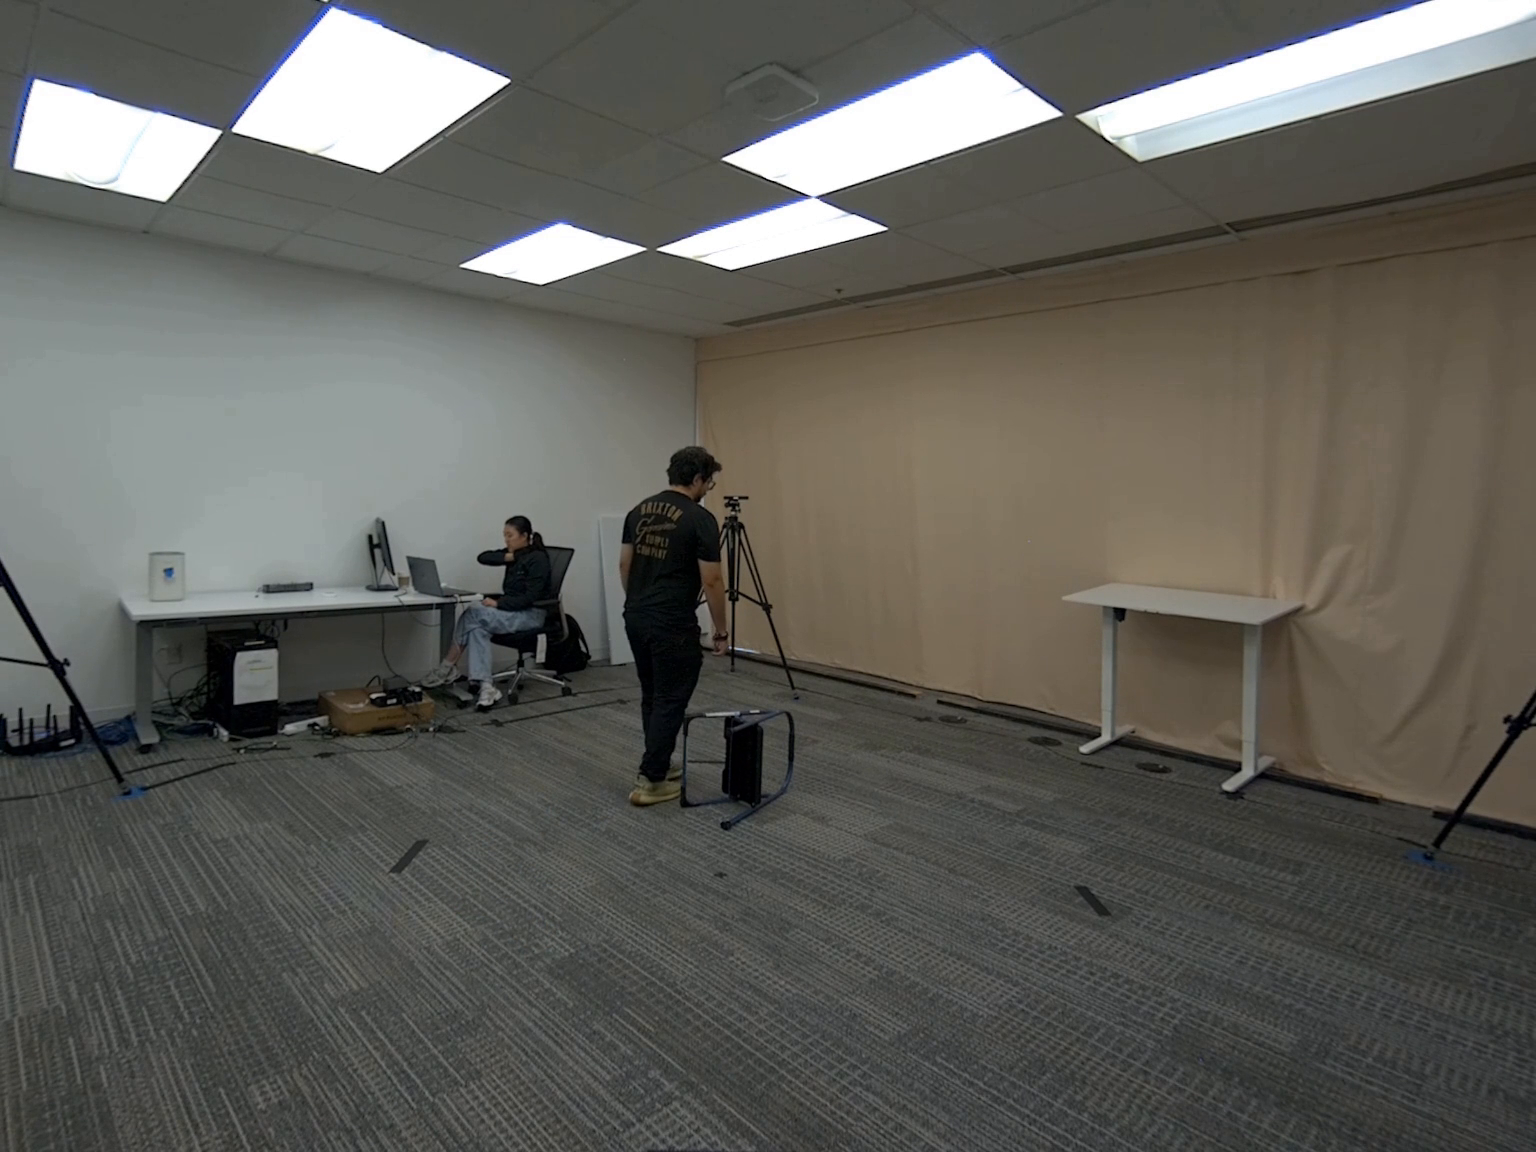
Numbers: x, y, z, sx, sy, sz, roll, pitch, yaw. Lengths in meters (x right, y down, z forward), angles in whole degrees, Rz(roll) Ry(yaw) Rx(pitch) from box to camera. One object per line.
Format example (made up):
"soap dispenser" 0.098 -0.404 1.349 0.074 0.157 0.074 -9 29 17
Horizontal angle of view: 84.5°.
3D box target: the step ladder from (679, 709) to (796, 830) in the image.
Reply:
"step ladder" -0.063 0.834 3.827 0.592 0.430 0.358 0 5 -41
